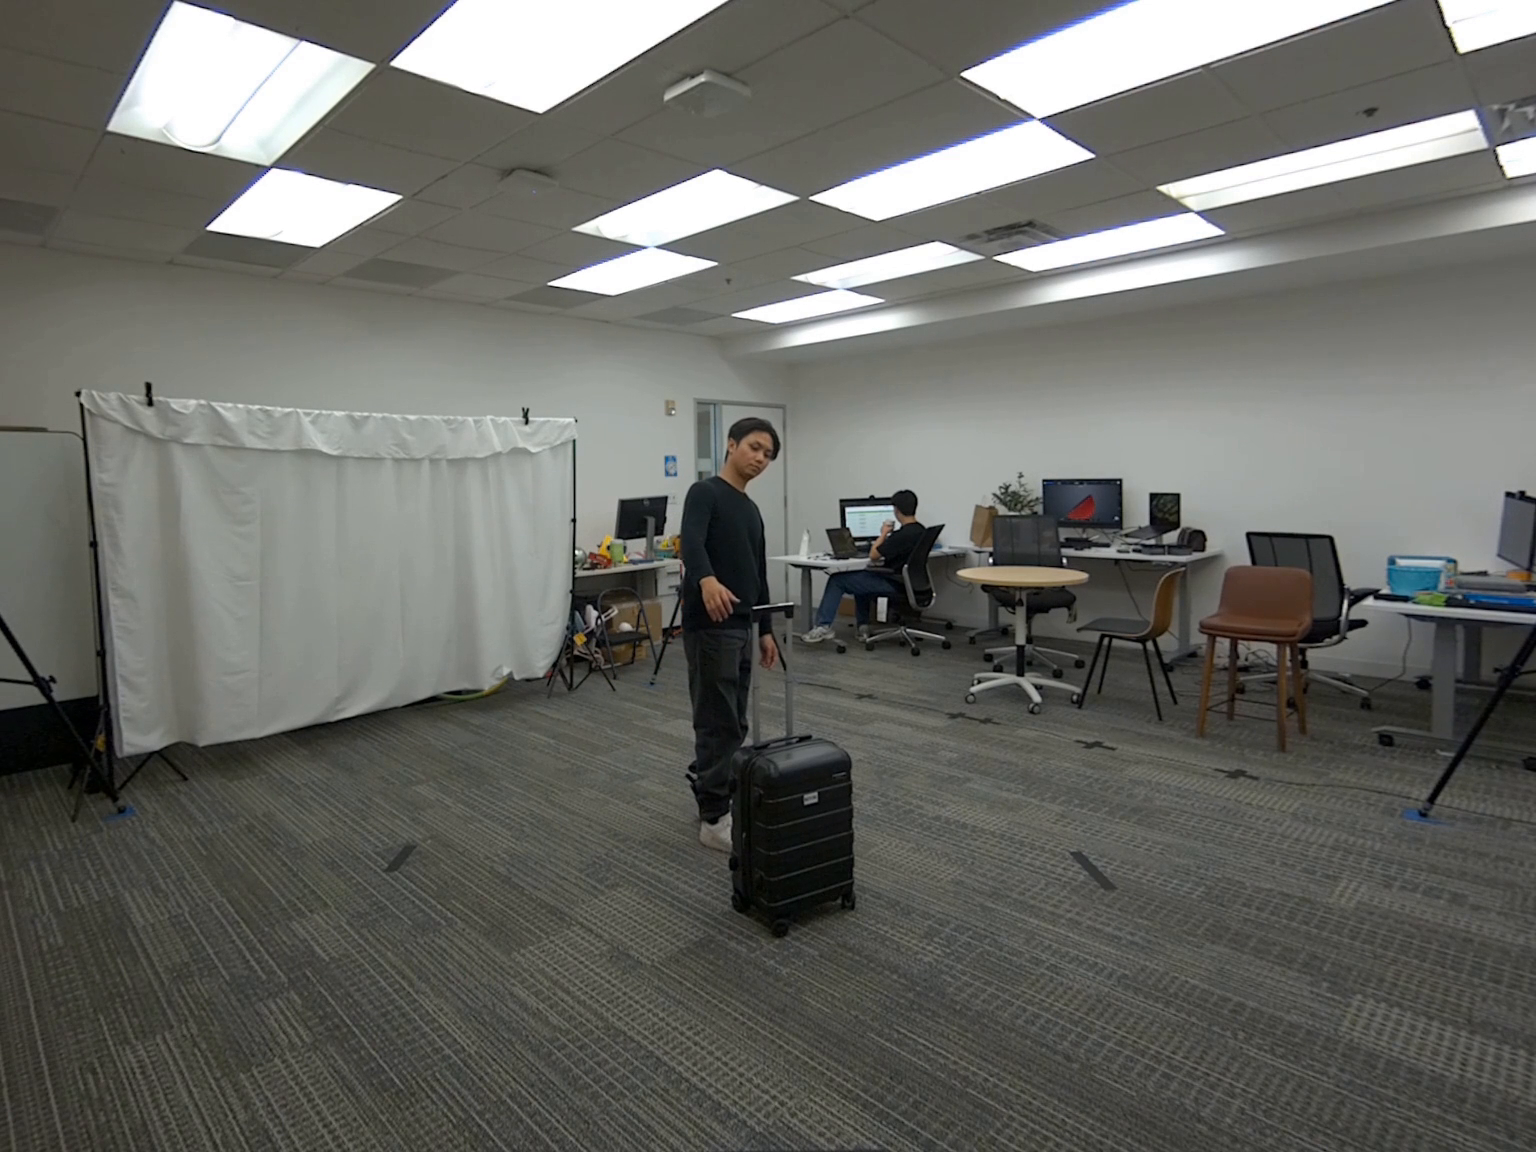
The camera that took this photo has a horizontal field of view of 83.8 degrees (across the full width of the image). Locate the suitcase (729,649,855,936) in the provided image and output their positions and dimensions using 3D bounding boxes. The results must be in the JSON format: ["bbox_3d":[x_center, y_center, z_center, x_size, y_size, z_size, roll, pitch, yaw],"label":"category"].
[{"bbox_3d":[0.086,0.607,2.734,0.375,0.973,0.264,-4,7,-31],"label":"suitcase"}]
